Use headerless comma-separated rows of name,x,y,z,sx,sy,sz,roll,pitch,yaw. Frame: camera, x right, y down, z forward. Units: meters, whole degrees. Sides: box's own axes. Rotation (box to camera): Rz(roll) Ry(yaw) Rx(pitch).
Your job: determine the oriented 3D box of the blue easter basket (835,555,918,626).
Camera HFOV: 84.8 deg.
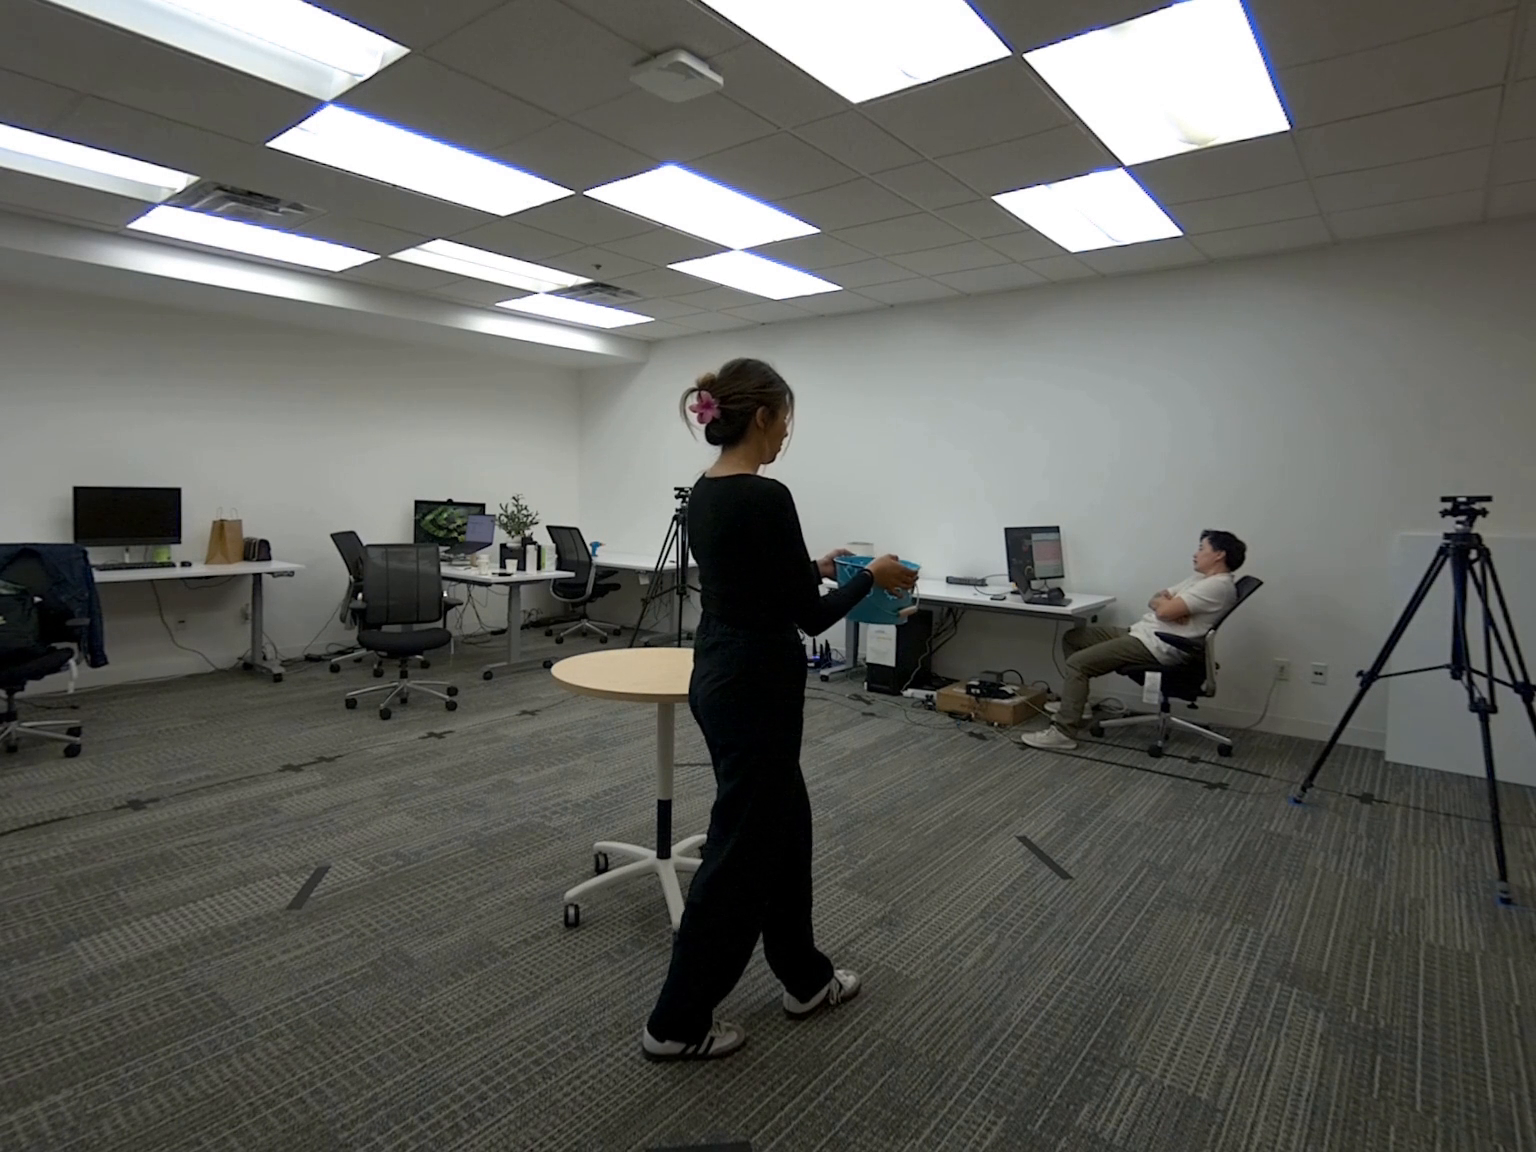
blue easter basket,0.285,0.042,2.264,0.243,0.155,0.246,2,8,-2
